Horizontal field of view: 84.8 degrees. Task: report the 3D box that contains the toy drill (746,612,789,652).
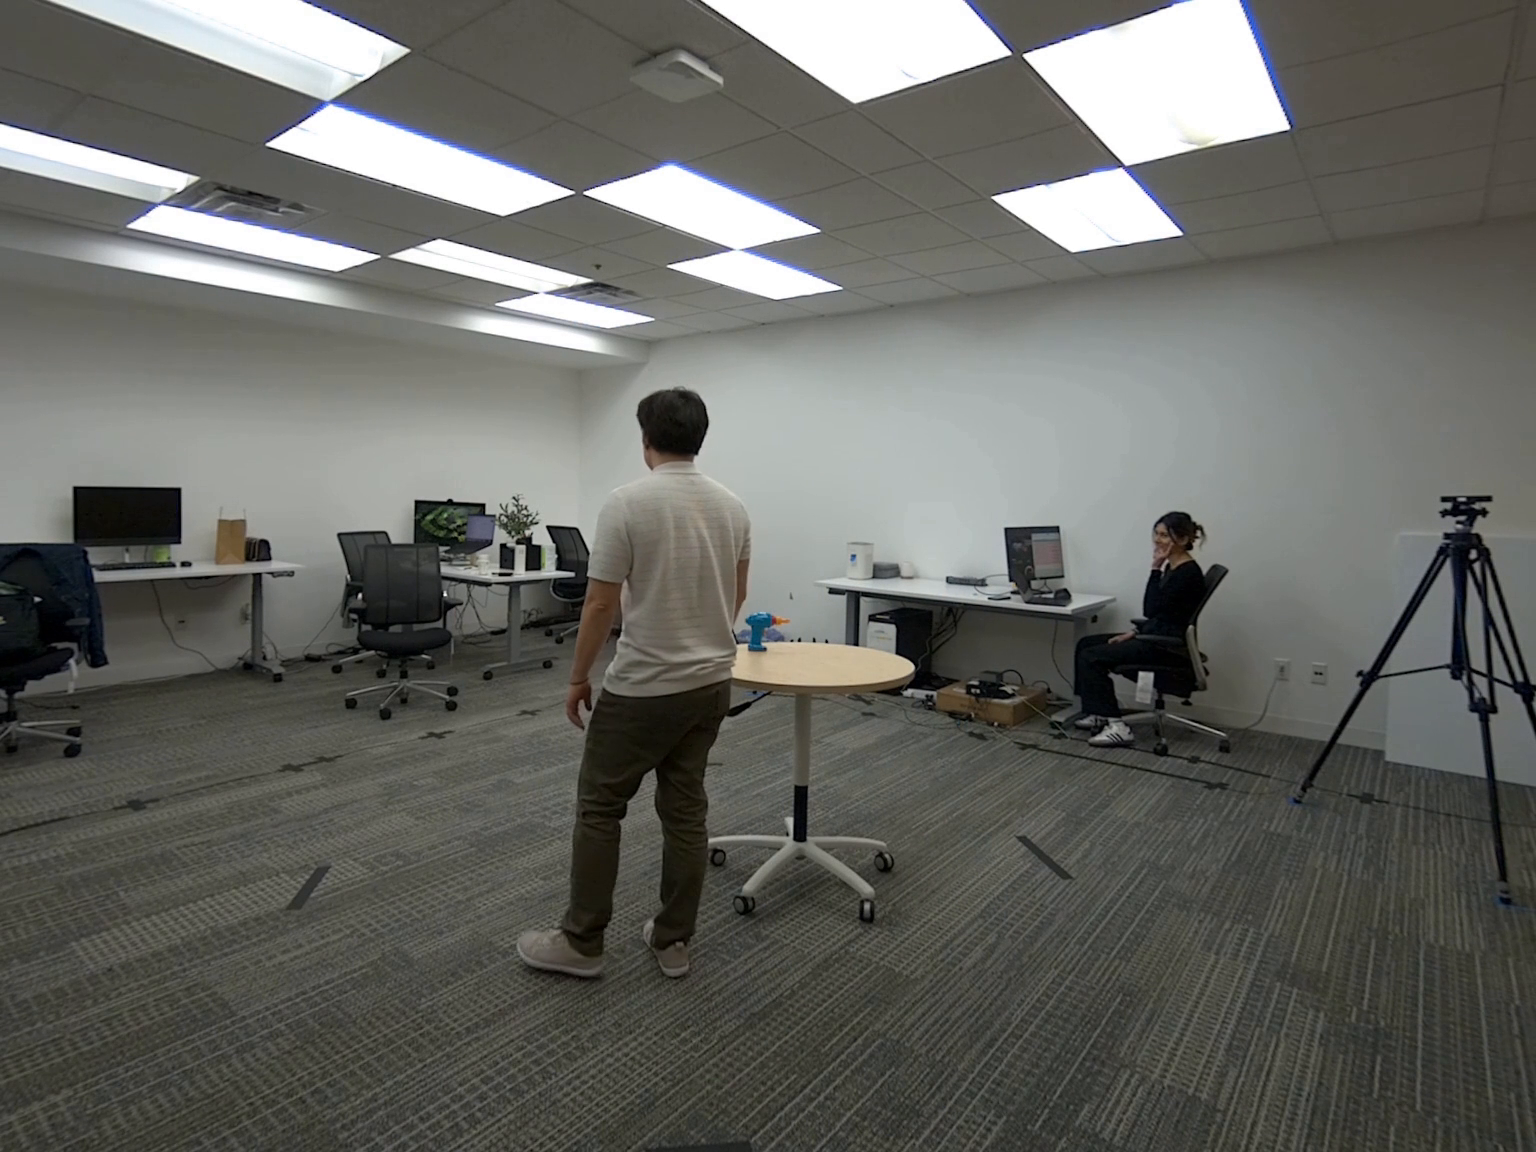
[{"bbox_3d":[-0.005,0.203,3.204,0.169,0.146,0.061,1,2,-6],"label":"toy drill"}]
